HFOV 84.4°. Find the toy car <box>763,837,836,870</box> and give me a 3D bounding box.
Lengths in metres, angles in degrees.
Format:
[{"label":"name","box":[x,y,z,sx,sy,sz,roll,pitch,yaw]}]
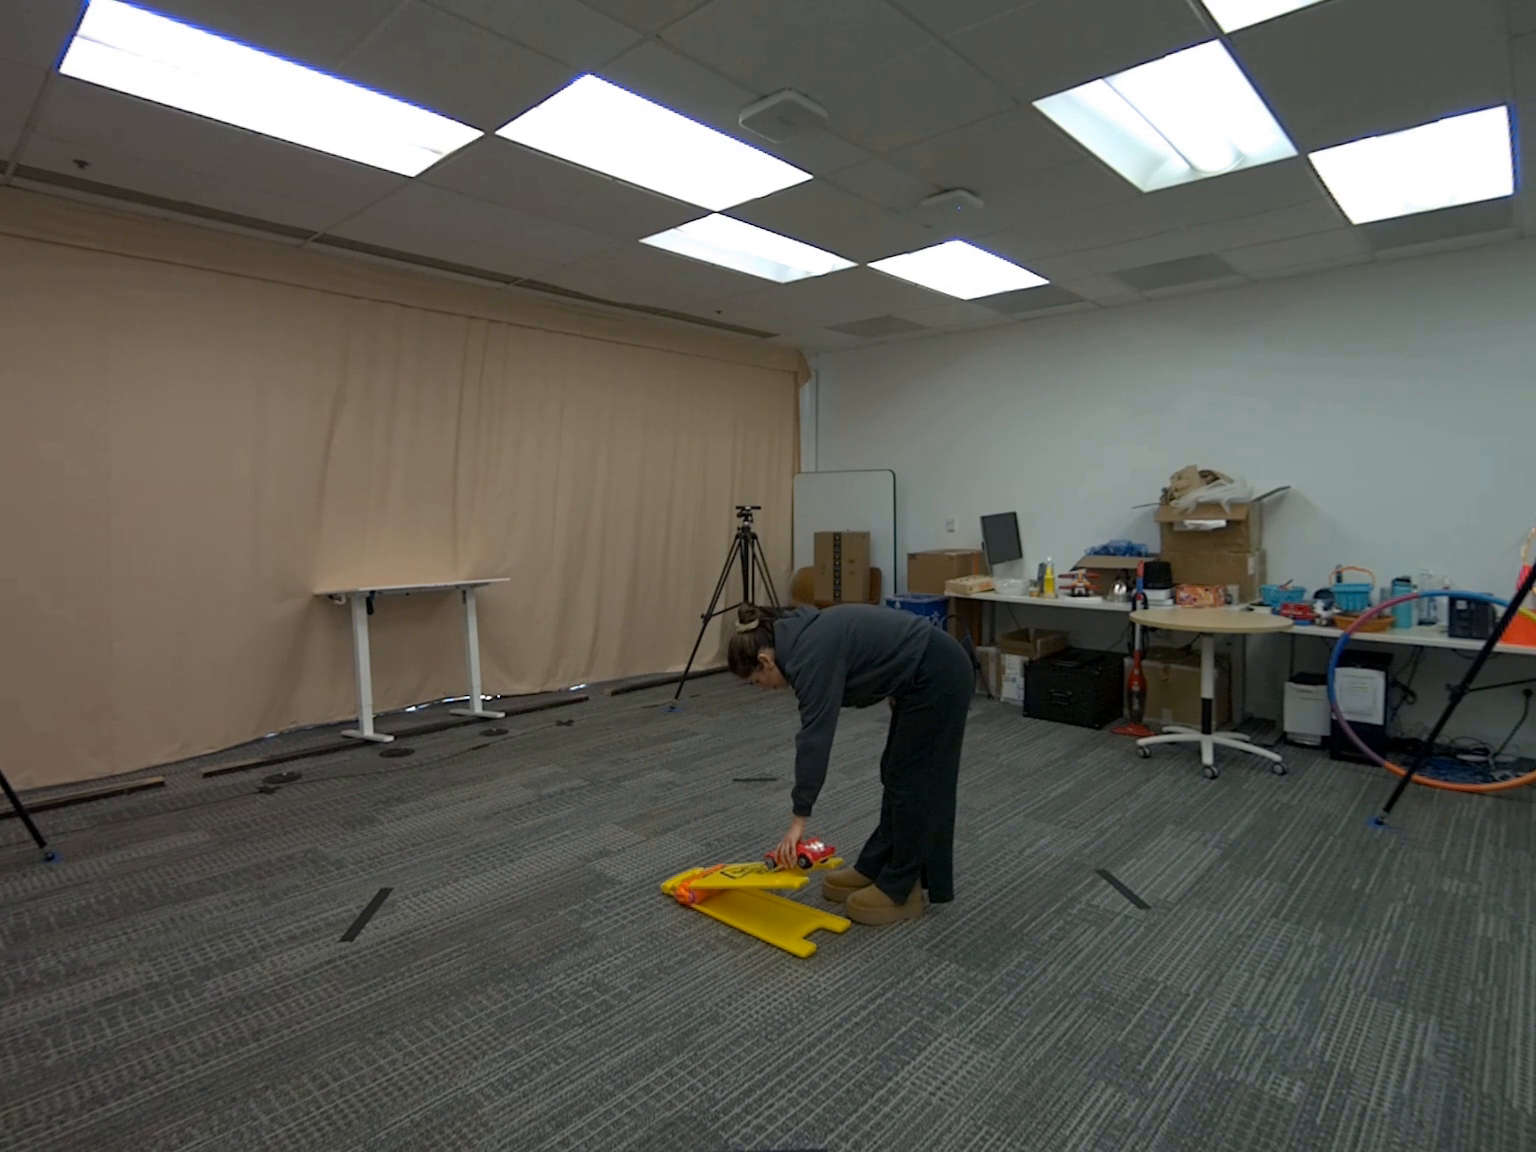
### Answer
[{"label":"toy car","box":[0.127,0.910,2.738,0.126,0.084,0.258,1,-26,-47]}]
